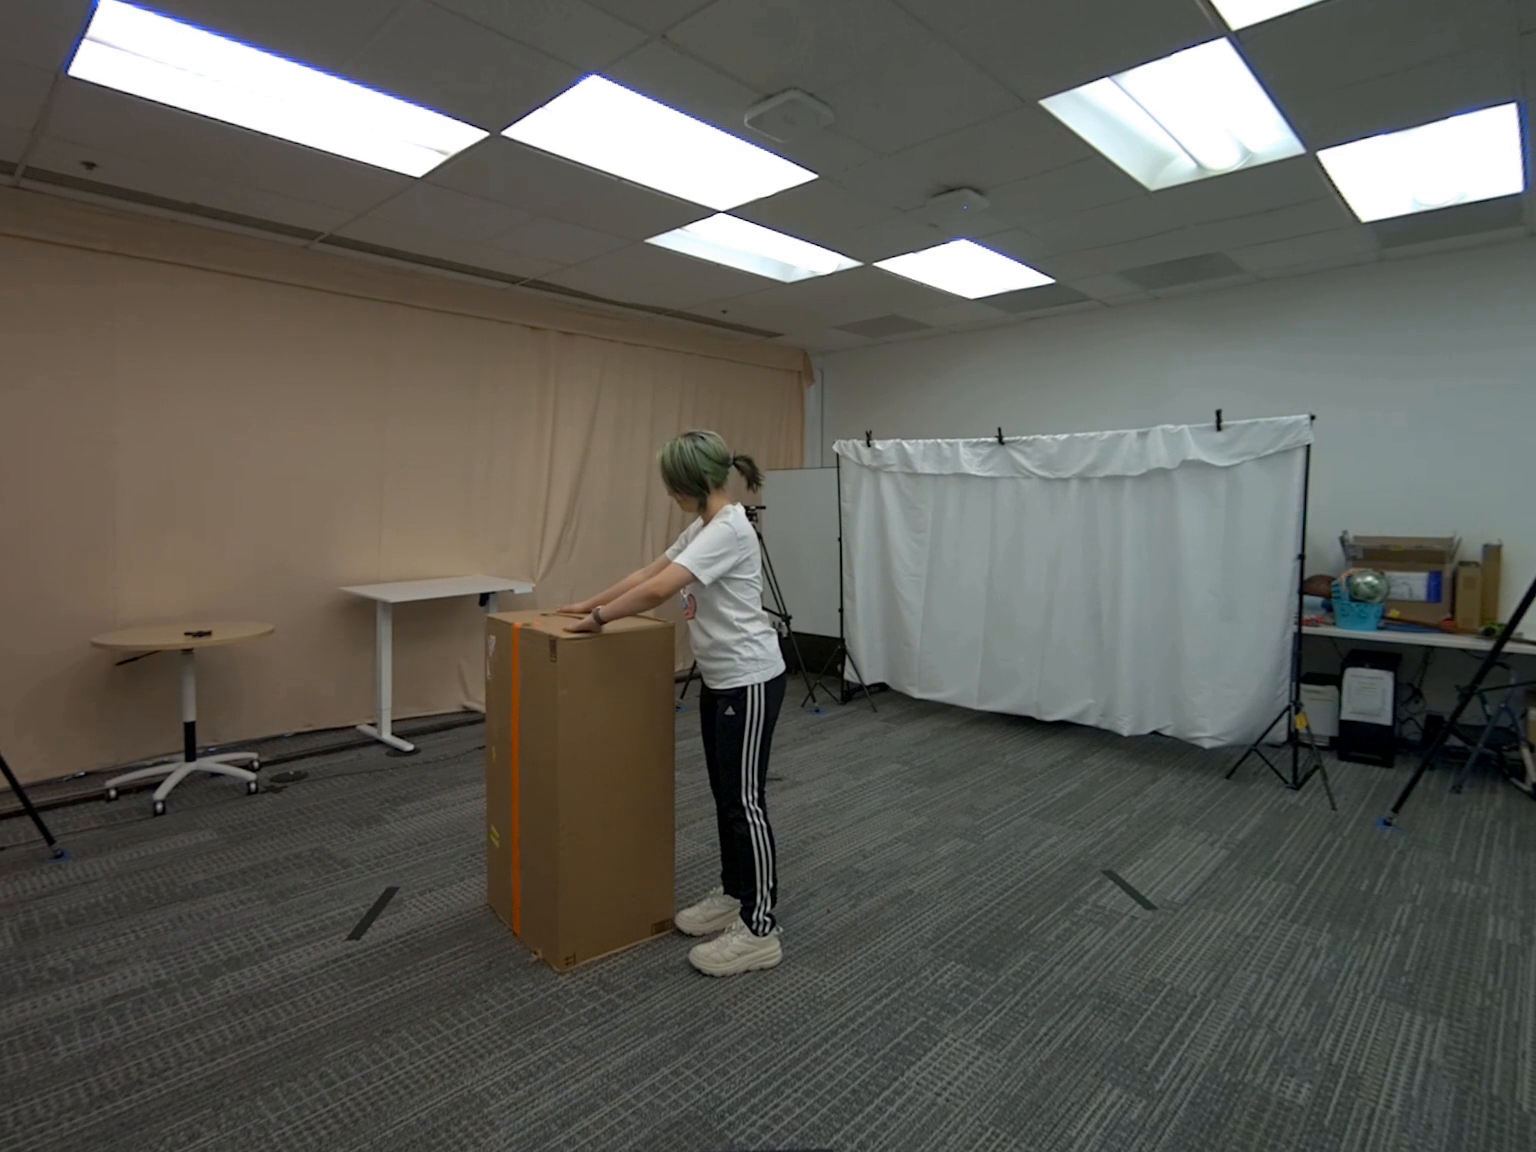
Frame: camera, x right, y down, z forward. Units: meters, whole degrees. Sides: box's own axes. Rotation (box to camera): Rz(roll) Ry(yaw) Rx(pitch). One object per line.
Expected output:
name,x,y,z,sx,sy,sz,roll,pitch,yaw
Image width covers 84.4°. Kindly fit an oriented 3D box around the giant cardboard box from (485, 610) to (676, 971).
giant cardboard box,-0.649,0.659,2.834,0.433,1.025,0.603,-2,4,-39
